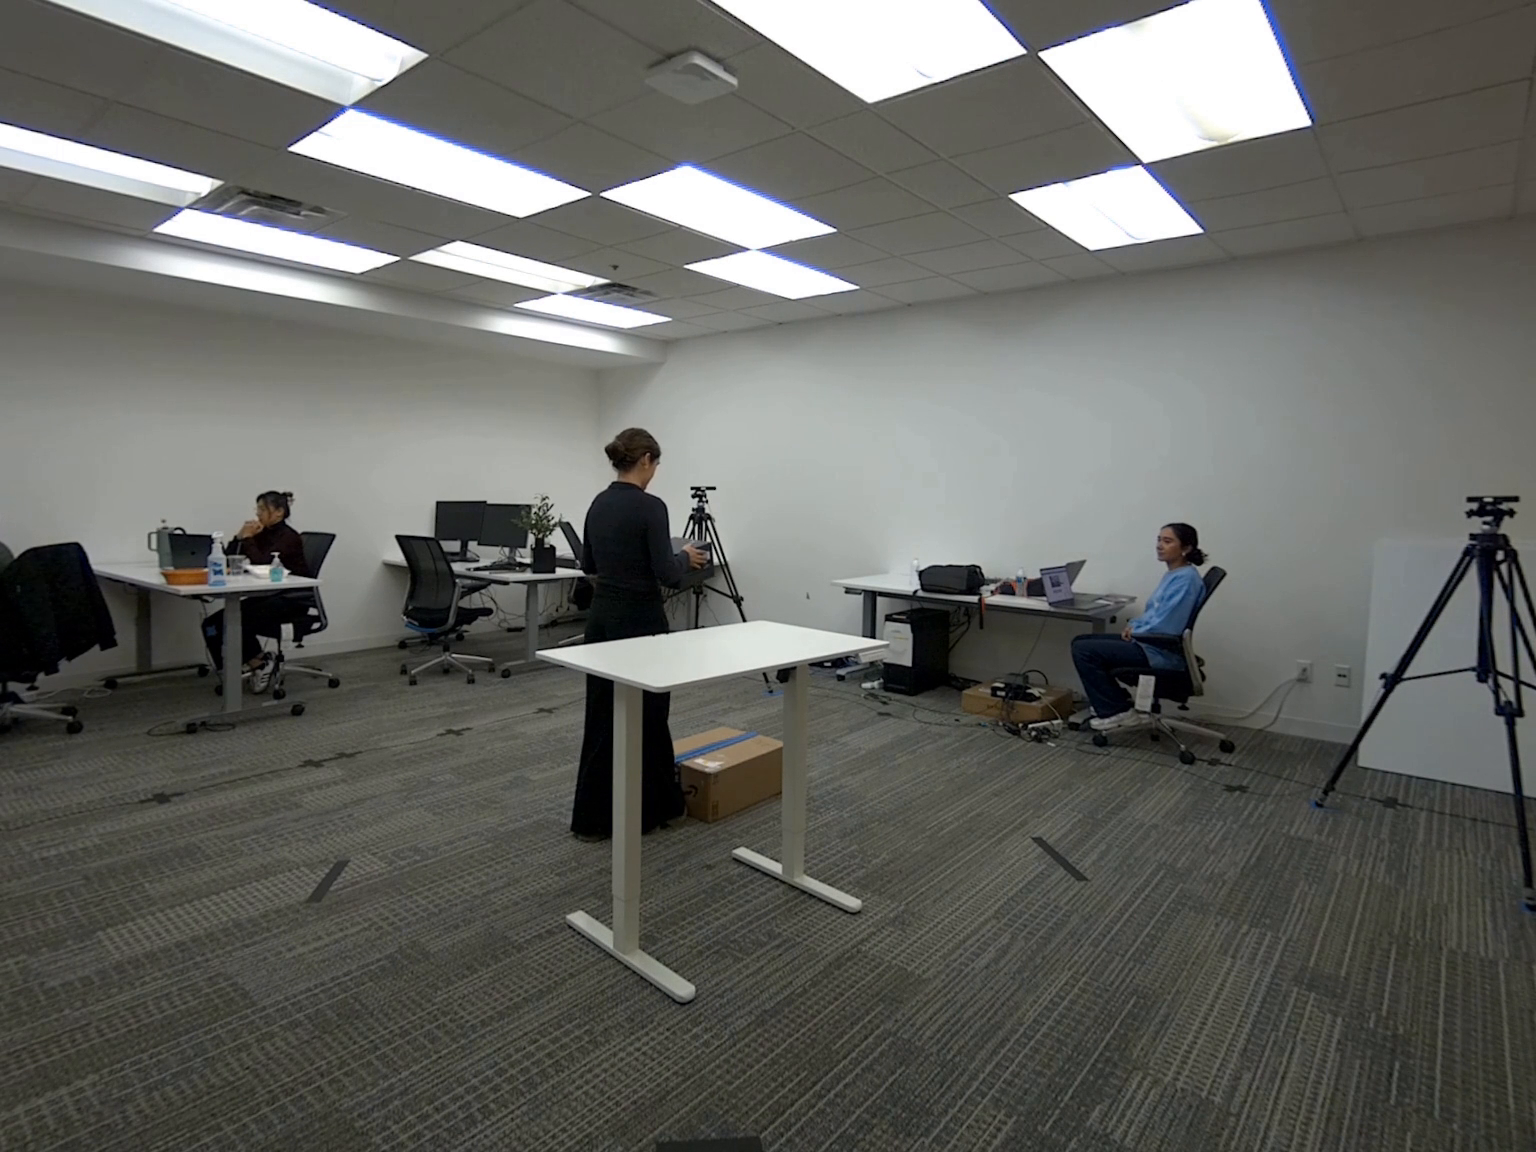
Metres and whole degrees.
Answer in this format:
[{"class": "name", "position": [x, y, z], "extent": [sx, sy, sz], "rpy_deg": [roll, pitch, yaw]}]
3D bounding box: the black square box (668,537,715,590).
[{"class": "black square box", "position": [-0.393, -0.061, 3.626], "extent": [0.236, 0.154, 0.212], "rpy_deg": [8, 18, 41]}]
